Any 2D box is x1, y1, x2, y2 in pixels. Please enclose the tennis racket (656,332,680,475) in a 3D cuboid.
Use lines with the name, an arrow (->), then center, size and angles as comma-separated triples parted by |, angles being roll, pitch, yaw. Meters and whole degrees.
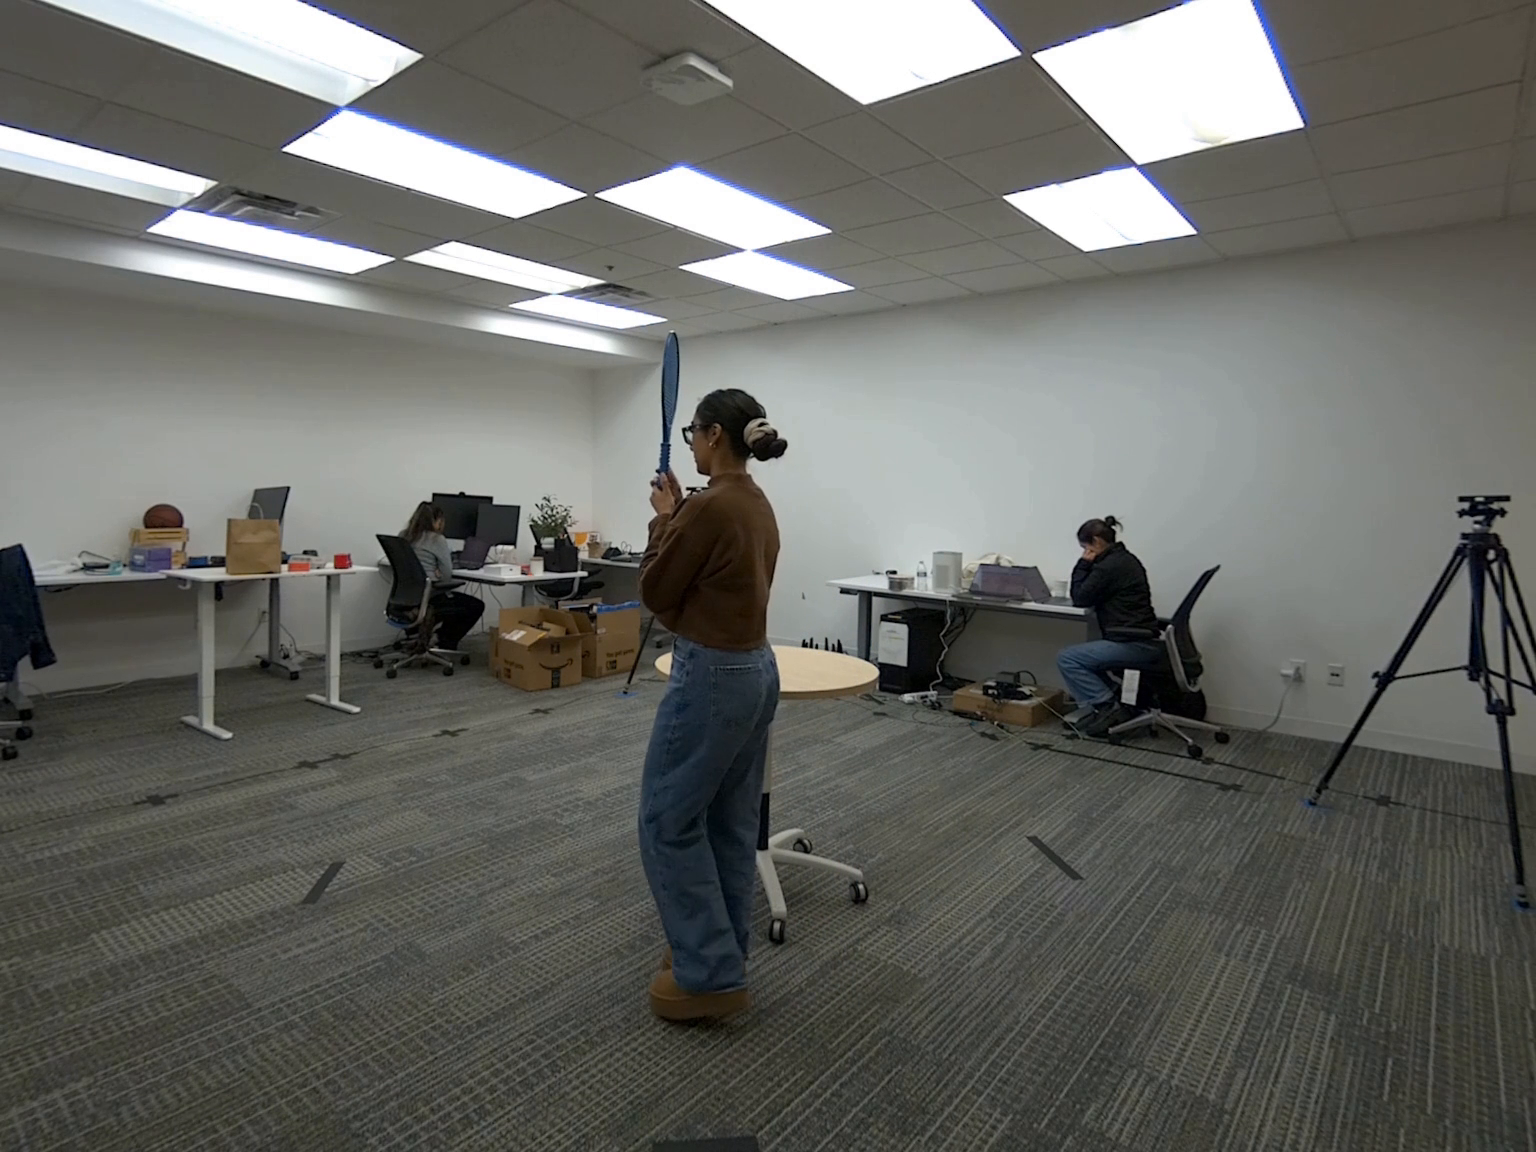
tennis racket -> -0.279, -0.467, 2.365 | 0.032, 0.432, 0.214 | -1, 3, -1
